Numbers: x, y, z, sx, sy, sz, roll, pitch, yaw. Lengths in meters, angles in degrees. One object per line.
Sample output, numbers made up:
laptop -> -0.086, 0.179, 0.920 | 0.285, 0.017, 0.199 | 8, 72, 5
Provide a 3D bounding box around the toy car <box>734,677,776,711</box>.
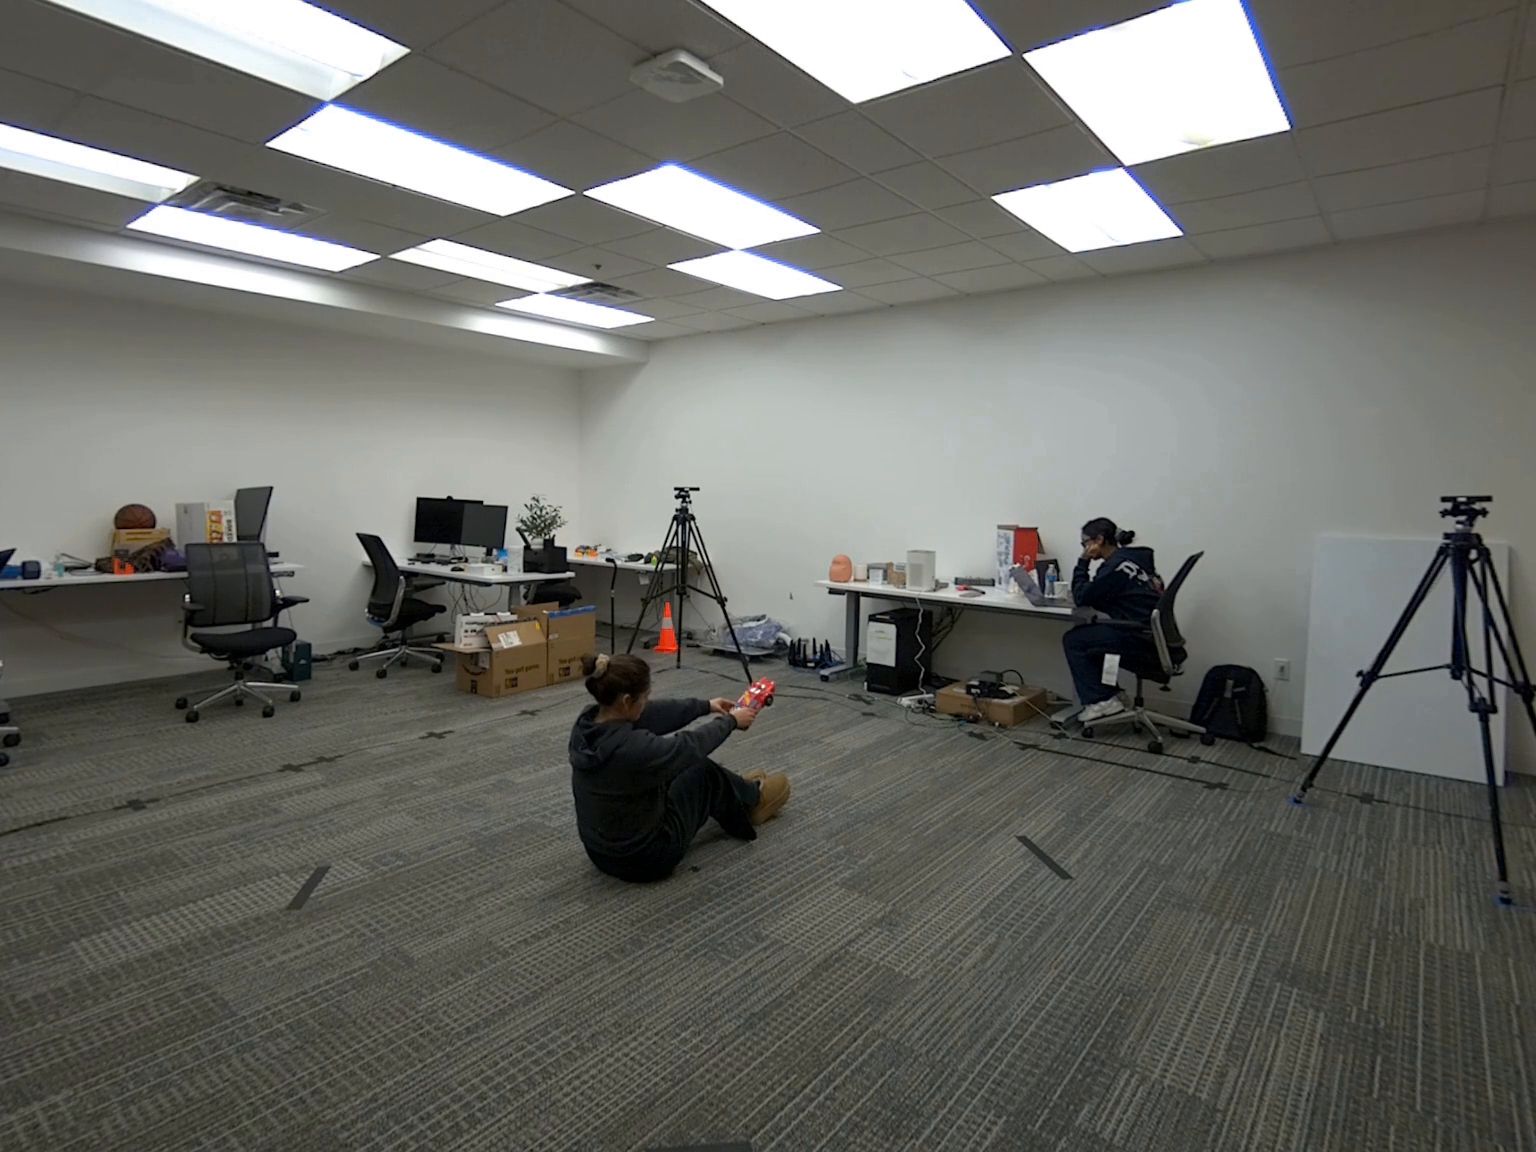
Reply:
toy car -> -0.073, 0.511, 3.395 | 0.135, 0.255, 0.080 | 11, -31, 49
